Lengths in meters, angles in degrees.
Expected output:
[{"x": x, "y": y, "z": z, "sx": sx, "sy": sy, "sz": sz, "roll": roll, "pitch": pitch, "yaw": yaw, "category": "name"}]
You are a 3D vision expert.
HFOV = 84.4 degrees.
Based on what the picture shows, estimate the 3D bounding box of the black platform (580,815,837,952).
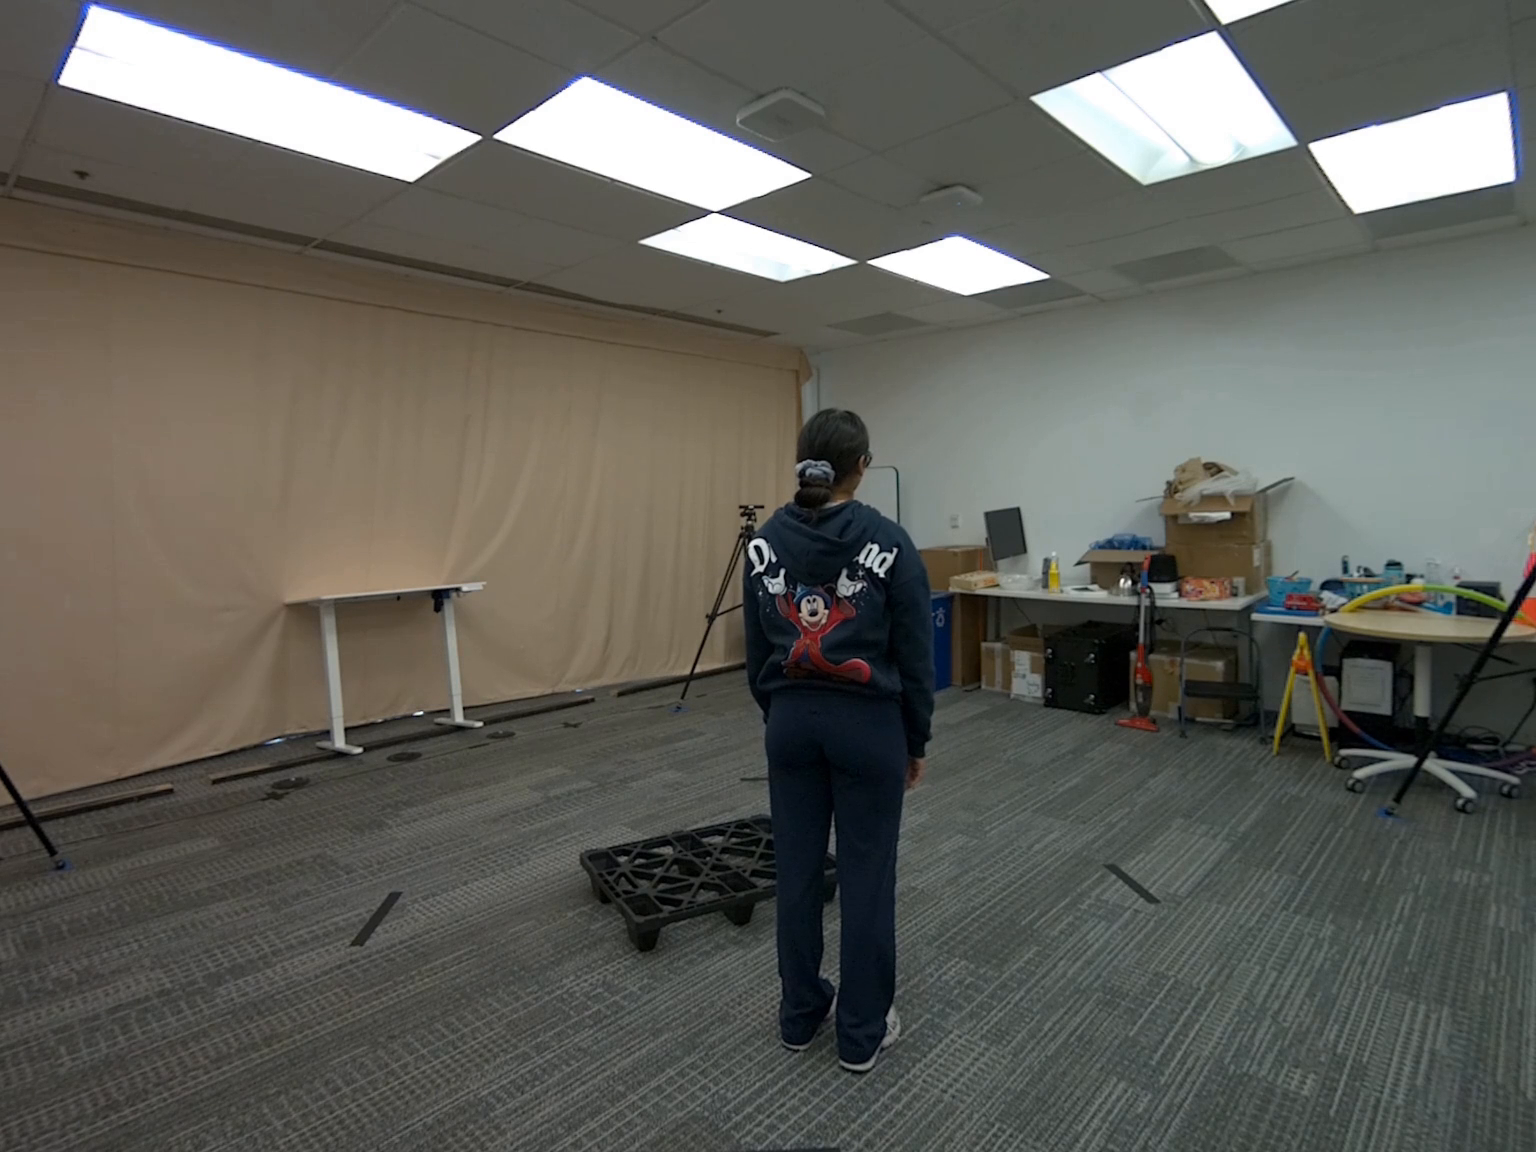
[{"x": -0.201, "y": 1.077, "z": 3.001, "sx": 0.785, "sy": 0.143, "sz": 0.622, "roll": -4, "pitch": 5, "yaw": -28, "category": "black platform"}]
